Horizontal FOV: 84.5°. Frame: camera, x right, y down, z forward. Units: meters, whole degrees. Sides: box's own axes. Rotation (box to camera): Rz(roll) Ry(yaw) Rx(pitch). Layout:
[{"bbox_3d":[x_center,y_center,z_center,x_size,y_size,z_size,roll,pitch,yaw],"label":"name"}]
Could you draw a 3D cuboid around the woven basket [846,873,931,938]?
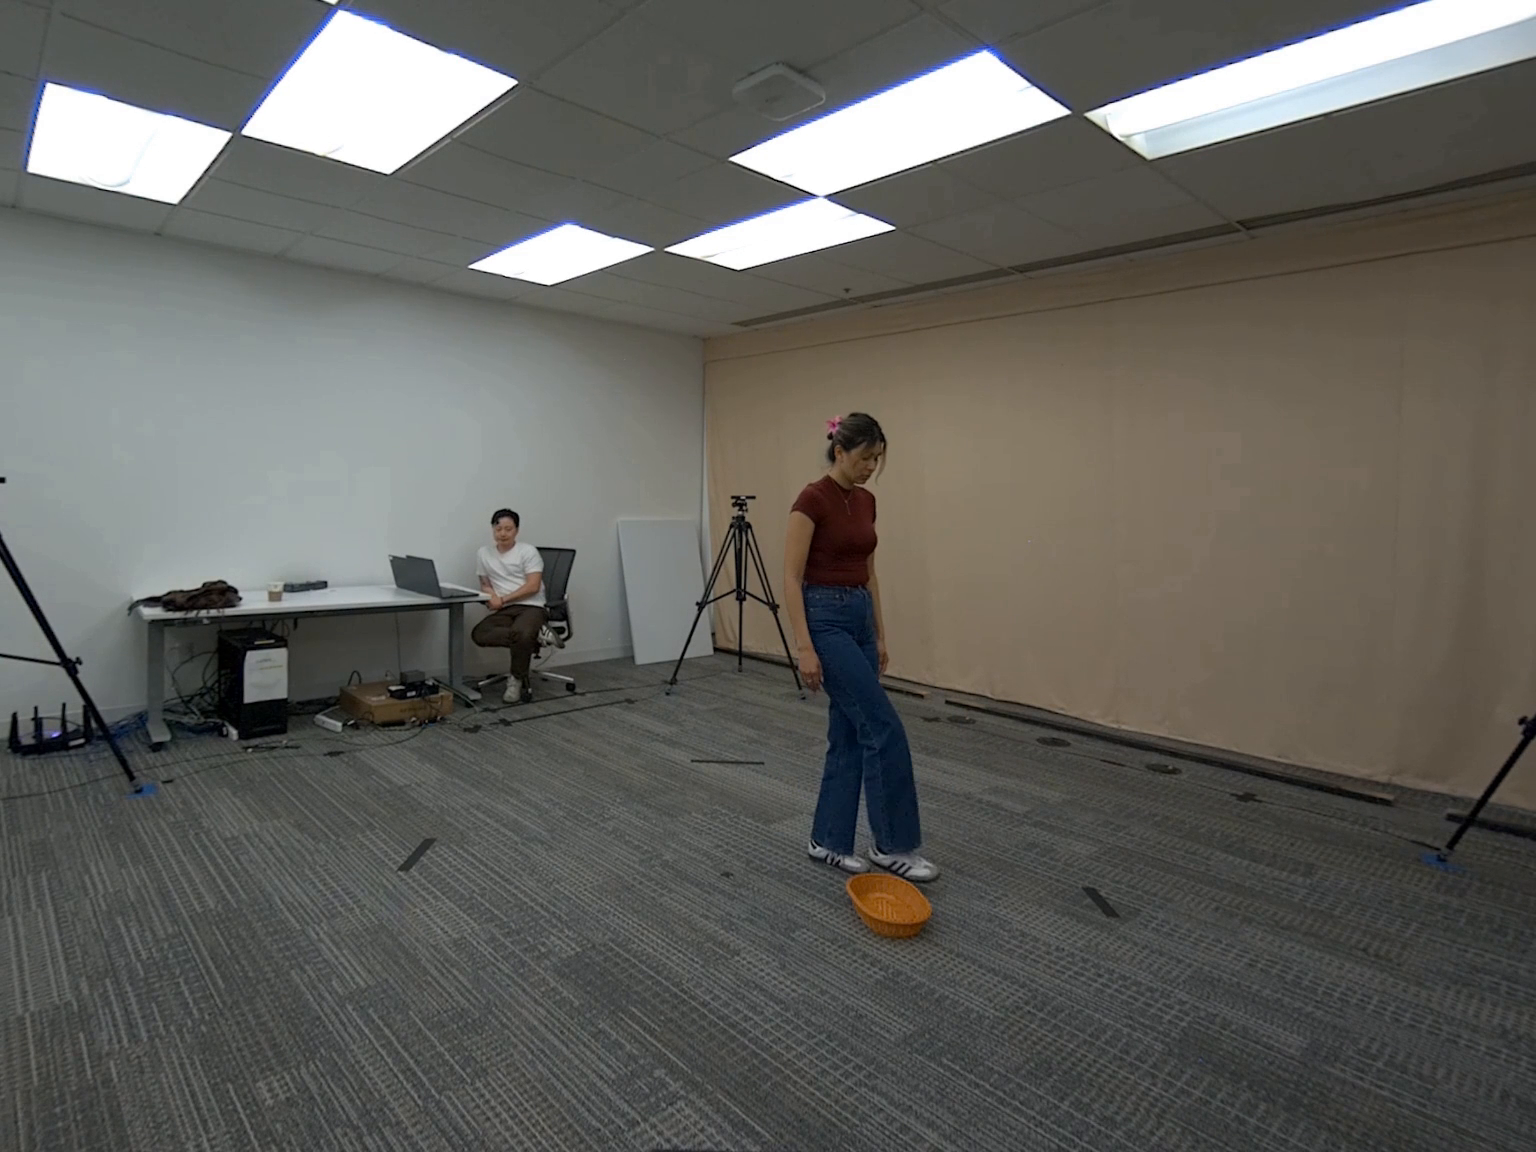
[{"bbox_3d":[0.391,1.105,2.814,0.250,0.073,0.354,2,5,-10],"label":"woven basket"}]
